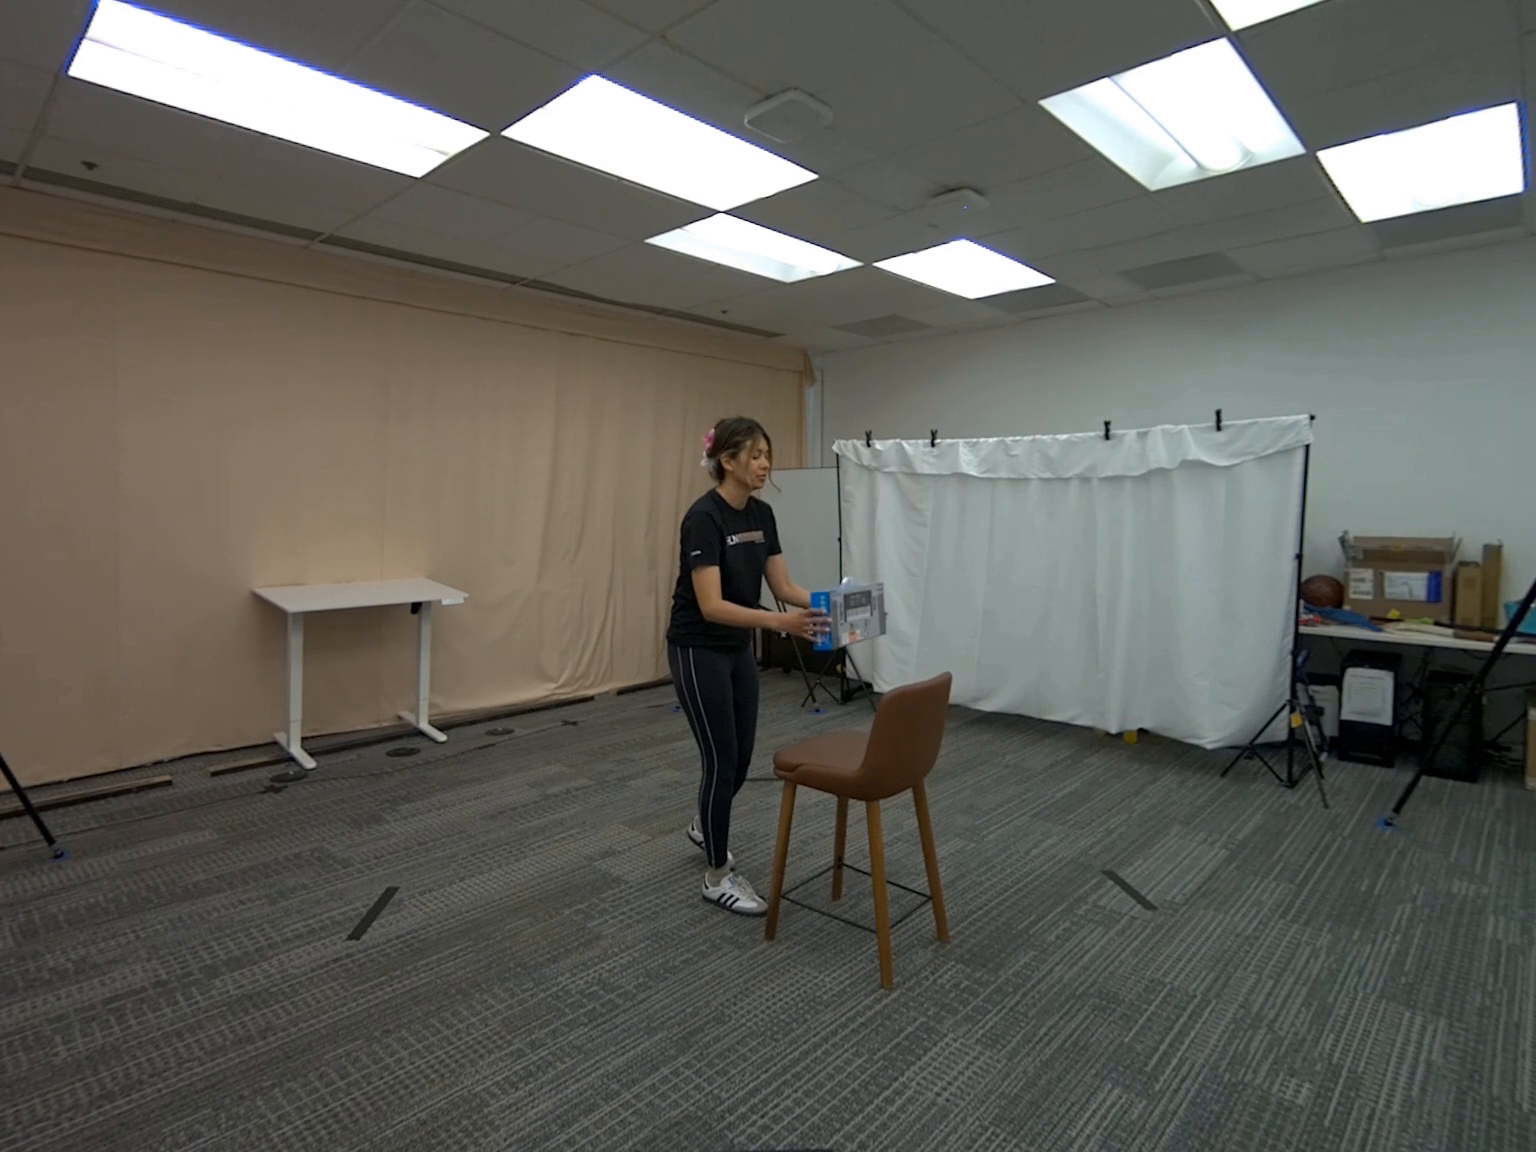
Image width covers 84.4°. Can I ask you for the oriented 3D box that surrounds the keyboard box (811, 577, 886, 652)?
[{"bbox_3d":[0.269,0.124,2.635,0.061,0.176,0.424,-5,0,33],"label":"keyboard box"}]
